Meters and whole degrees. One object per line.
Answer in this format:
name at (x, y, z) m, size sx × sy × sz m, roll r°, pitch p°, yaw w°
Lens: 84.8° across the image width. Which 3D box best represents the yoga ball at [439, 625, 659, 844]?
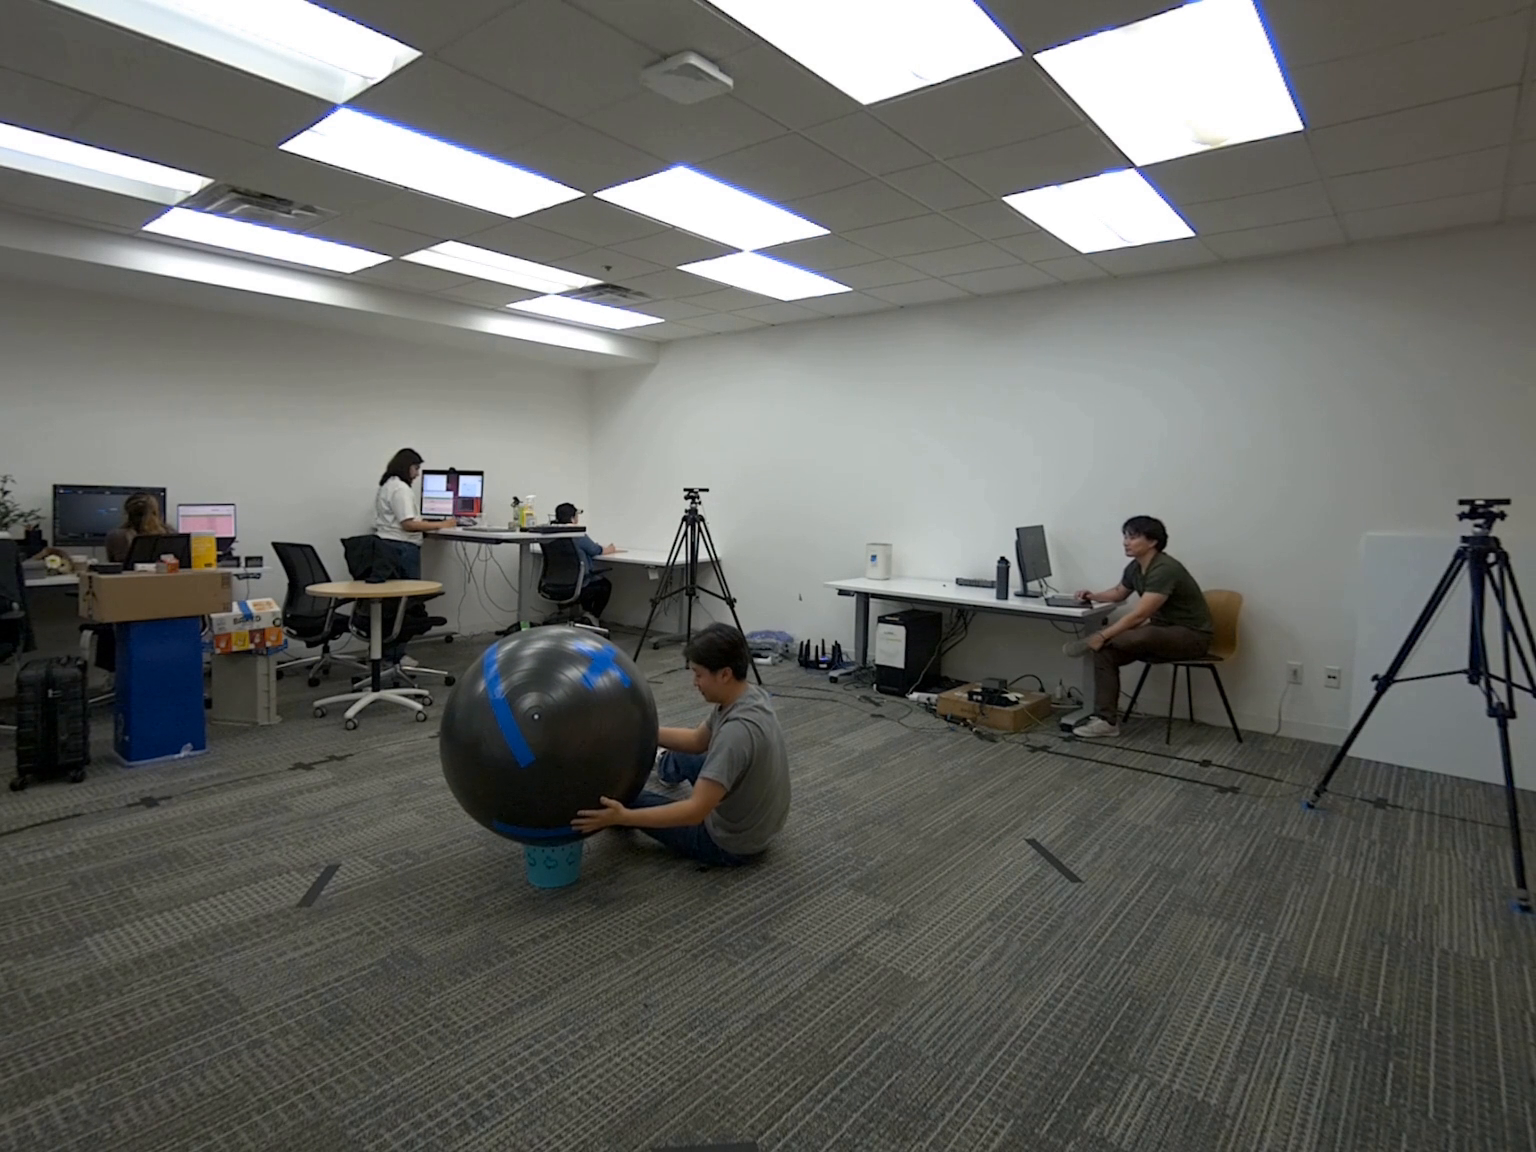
yoga ball at (-0.789, 0.561, 3.021) m, size 0.757 × 0.756 × 0.761 m, roll 1°, pitch 4°, yaw -2°
